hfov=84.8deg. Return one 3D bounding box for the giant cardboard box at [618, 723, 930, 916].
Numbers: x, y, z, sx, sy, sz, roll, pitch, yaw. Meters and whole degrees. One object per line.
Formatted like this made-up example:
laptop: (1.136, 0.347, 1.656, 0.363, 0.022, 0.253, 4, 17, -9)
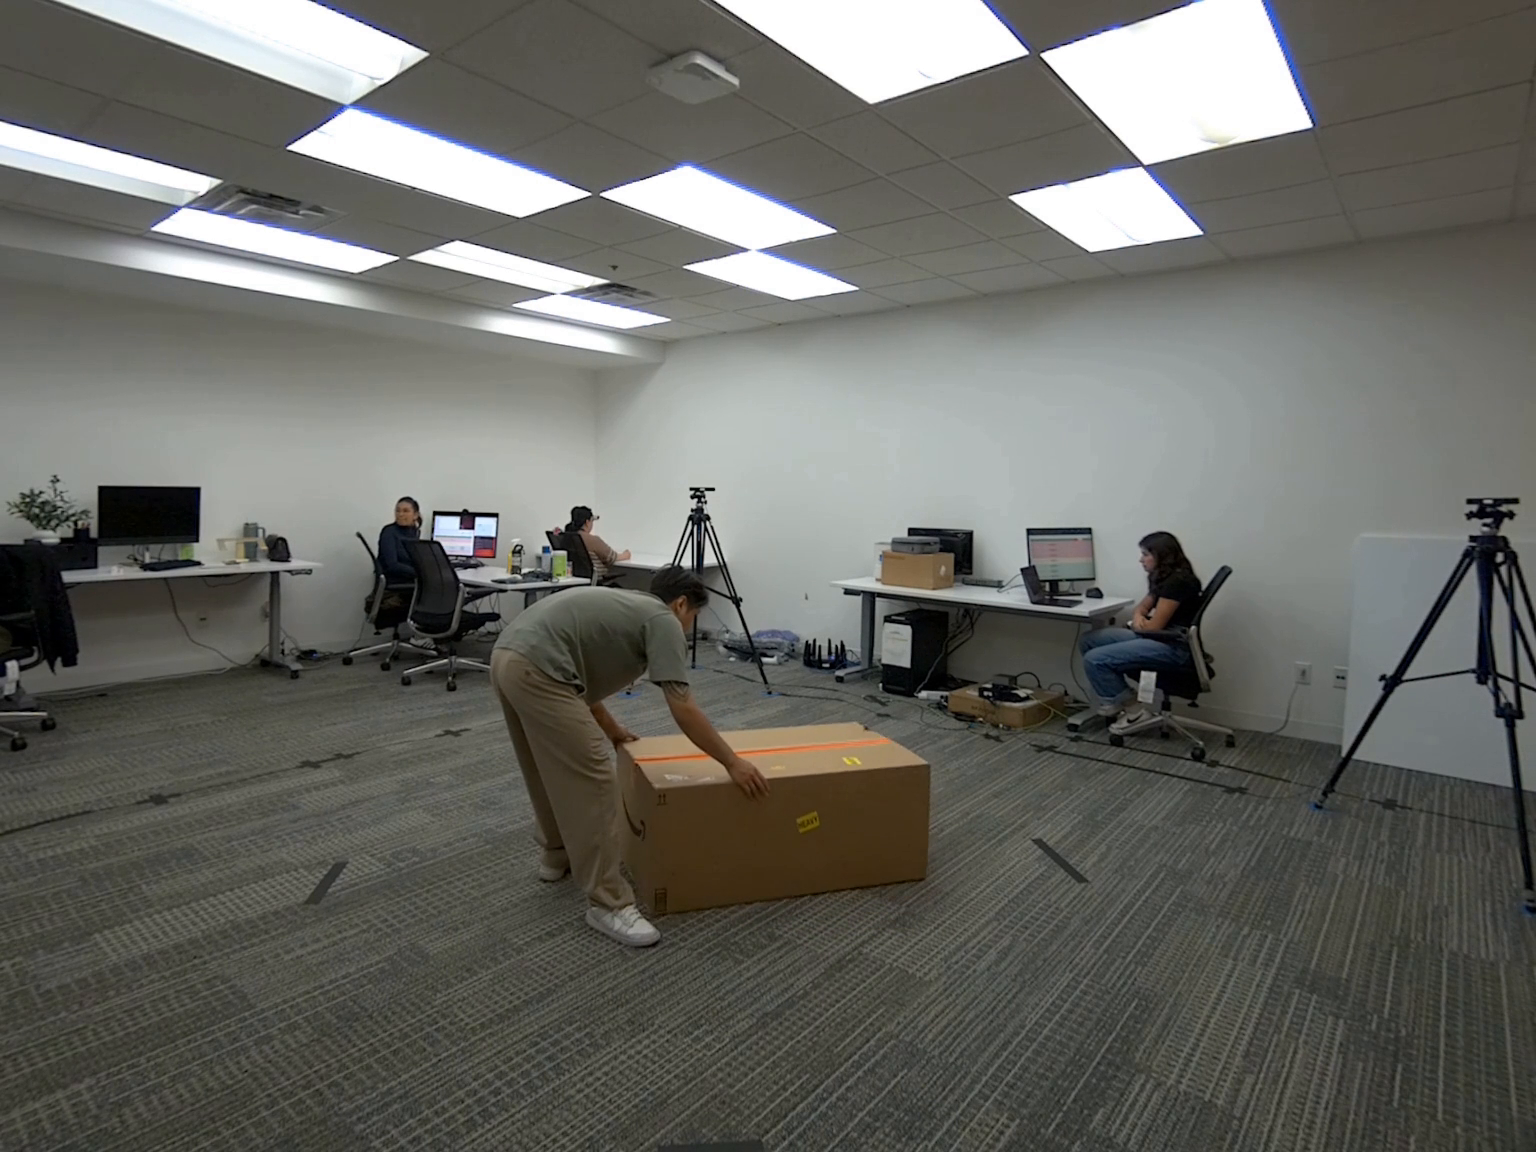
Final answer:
giant cardboard box: (-0.009, 0.848, 3.161, 1.006, 0.425, 0.591, -1, 4, -19)
